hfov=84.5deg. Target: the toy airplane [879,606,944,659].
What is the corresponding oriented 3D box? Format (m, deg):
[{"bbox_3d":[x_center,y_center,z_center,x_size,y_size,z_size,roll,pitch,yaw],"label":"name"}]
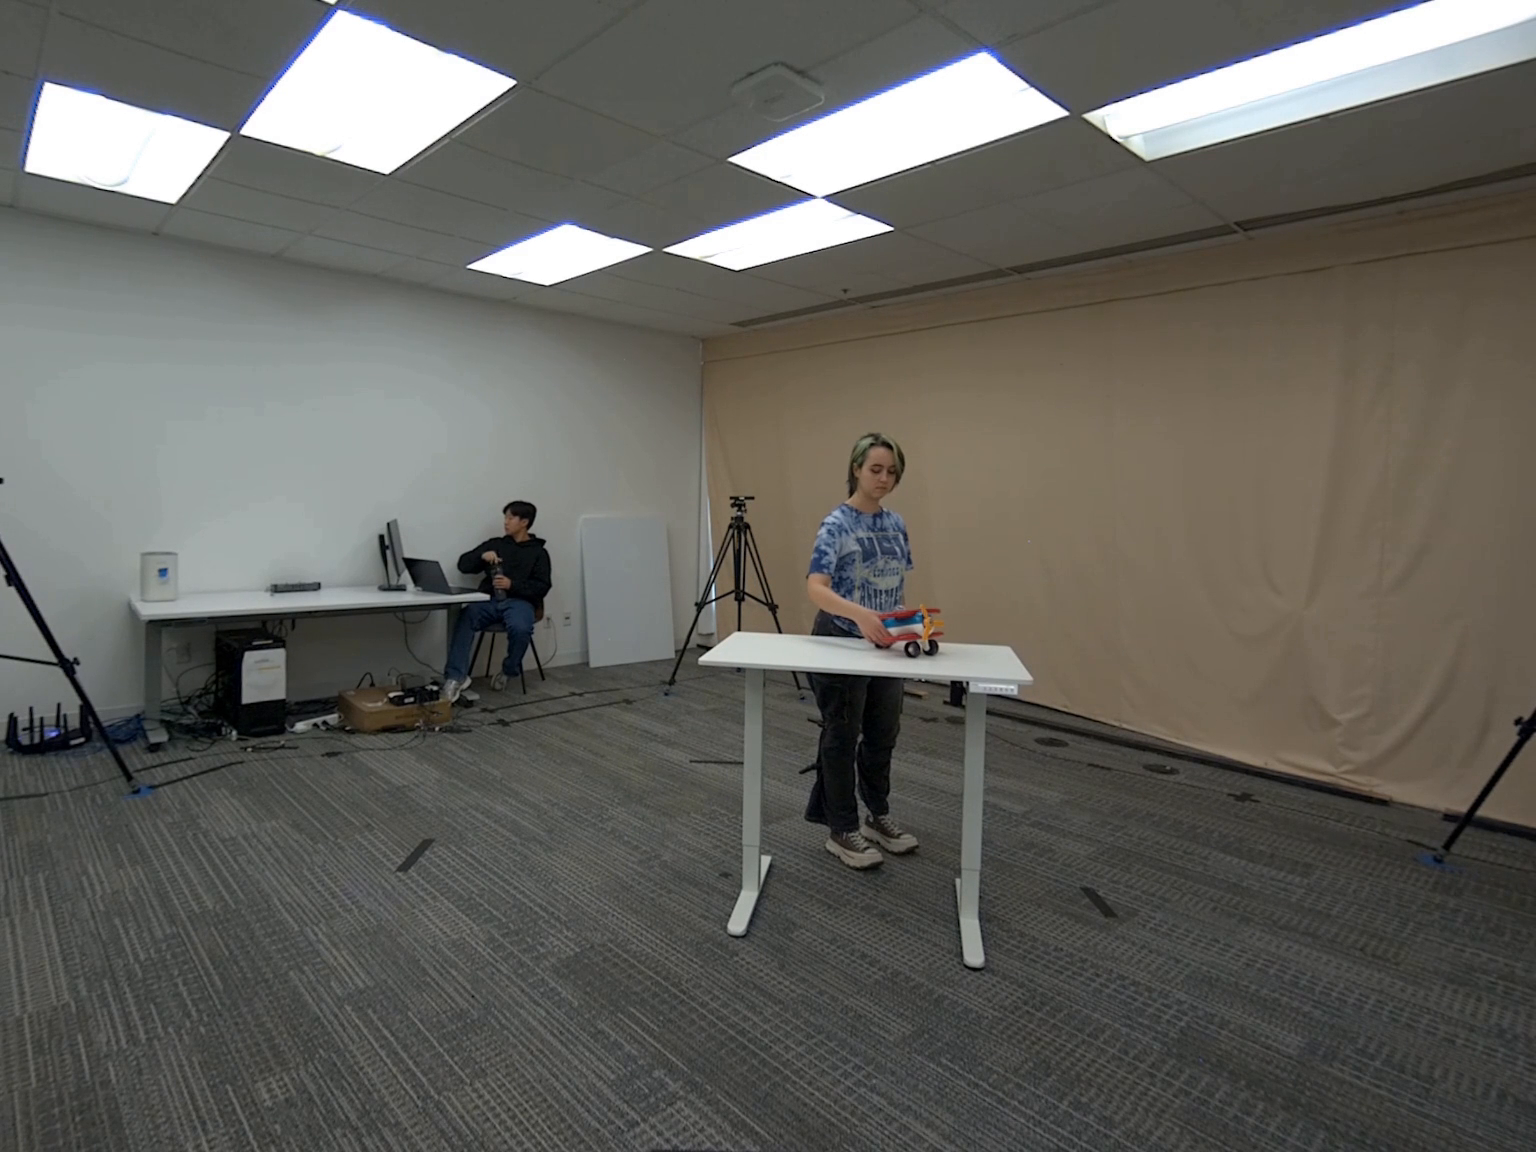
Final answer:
[{"bbox_3d":[0.445,0.184,2.833,0.264,0.156,0.247,5,5,25],"label":"toy airplane"}]
